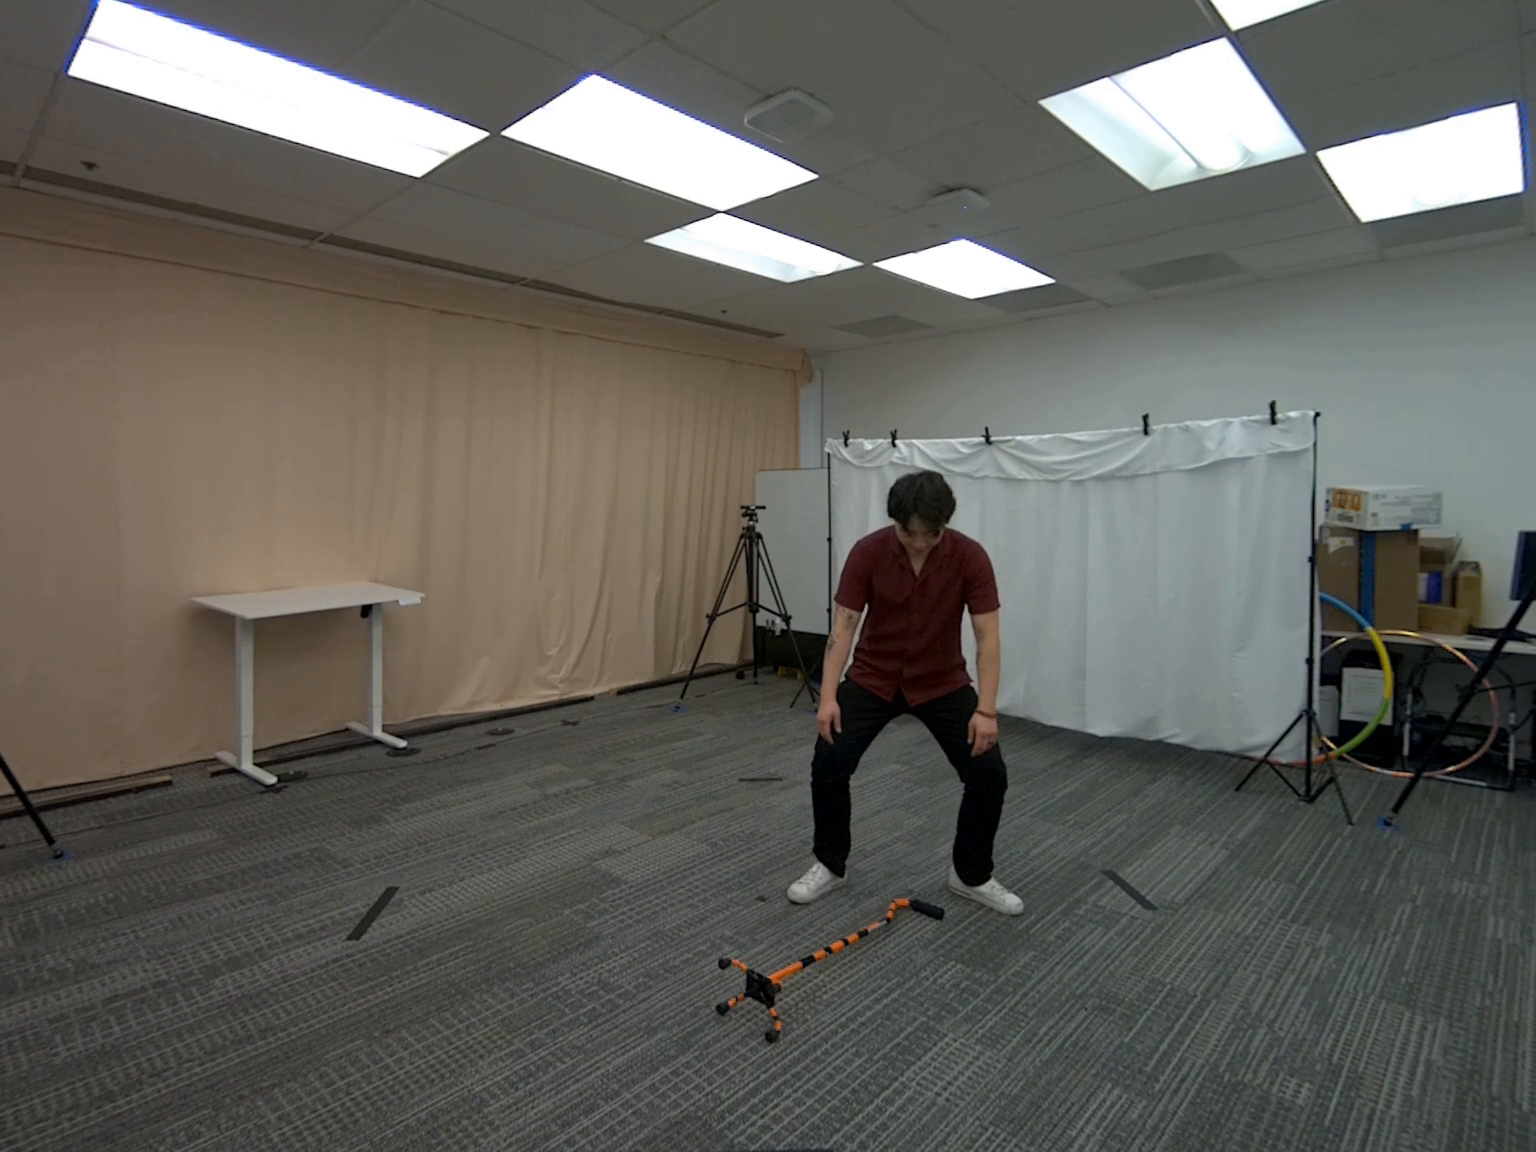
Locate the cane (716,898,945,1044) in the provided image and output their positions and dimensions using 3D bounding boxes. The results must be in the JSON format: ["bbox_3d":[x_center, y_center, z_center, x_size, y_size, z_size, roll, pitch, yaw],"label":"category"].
[{"bbox_3d":[0.235,1.134,2.569,0.213,0.151,0.878,5,2,42],"label":"cane"}]
